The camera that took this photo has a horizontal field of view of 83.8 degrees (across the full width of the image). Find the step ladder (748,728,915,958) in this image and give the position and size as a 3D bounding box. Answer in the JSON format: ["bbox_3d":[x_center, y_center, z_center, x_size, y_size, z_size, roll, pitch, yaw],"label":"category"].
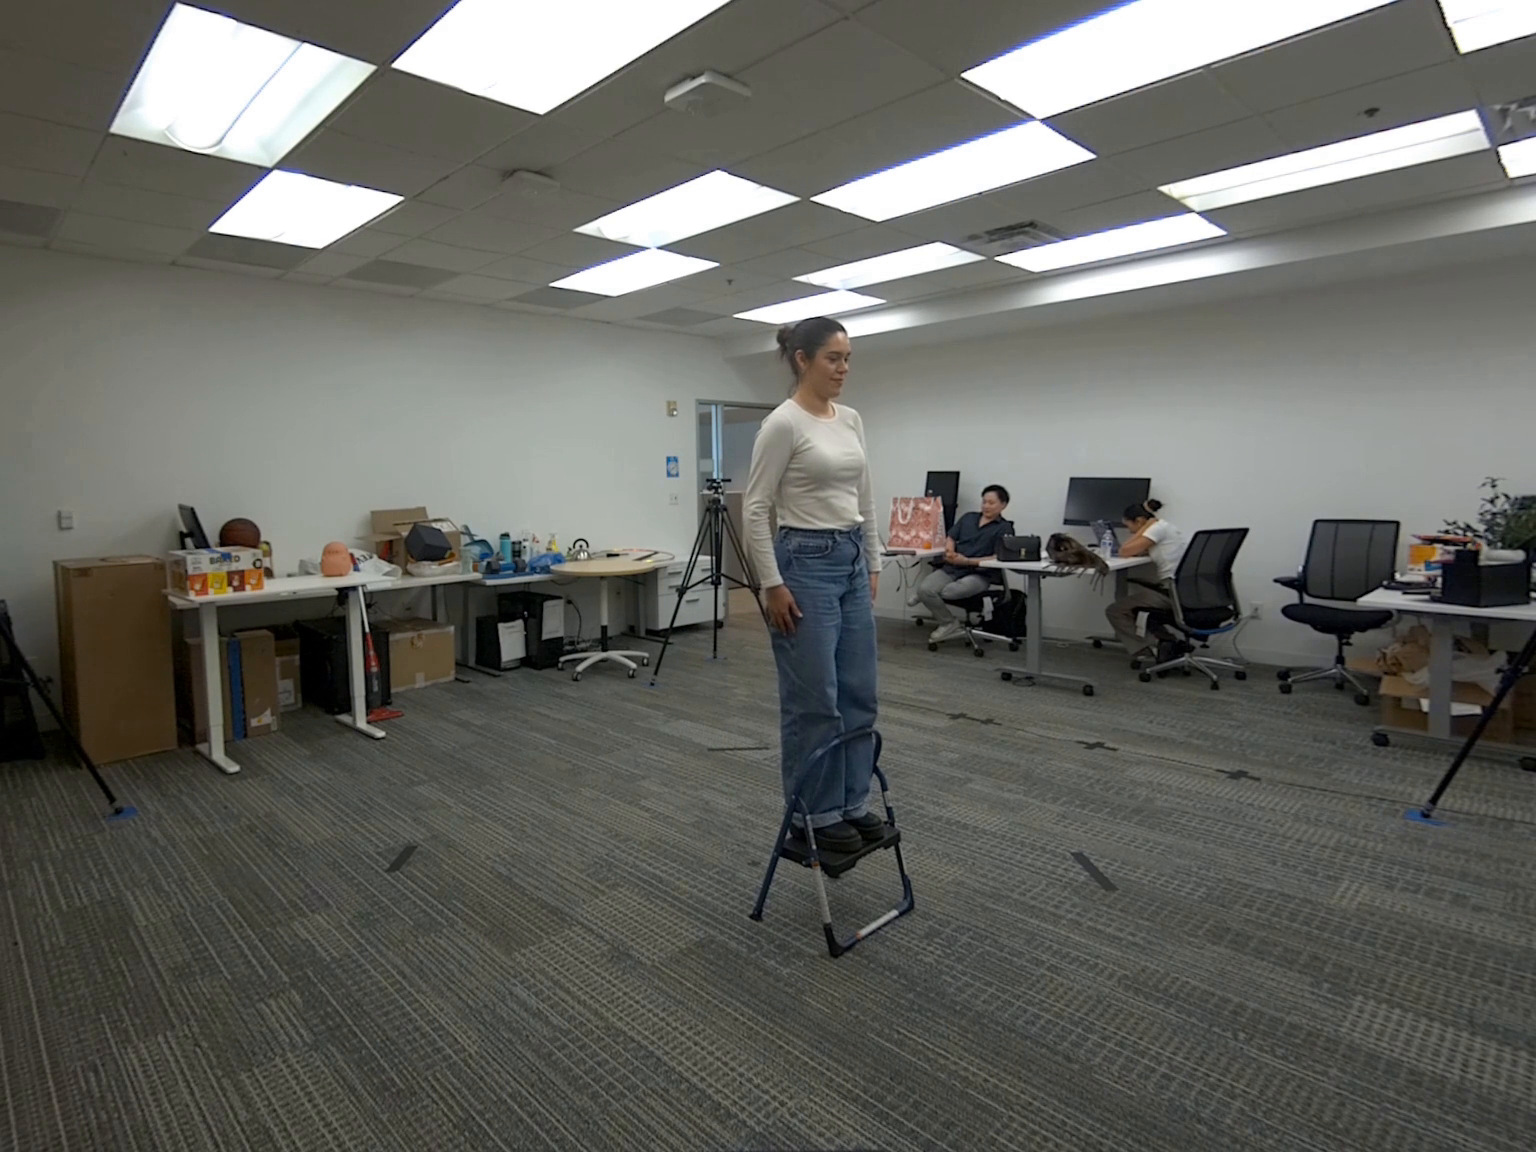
[{"bbox_3d":[0.208,0.780,2.726,0.360,0.604,0.419,3,6,44],"label":"step ladder"}]
